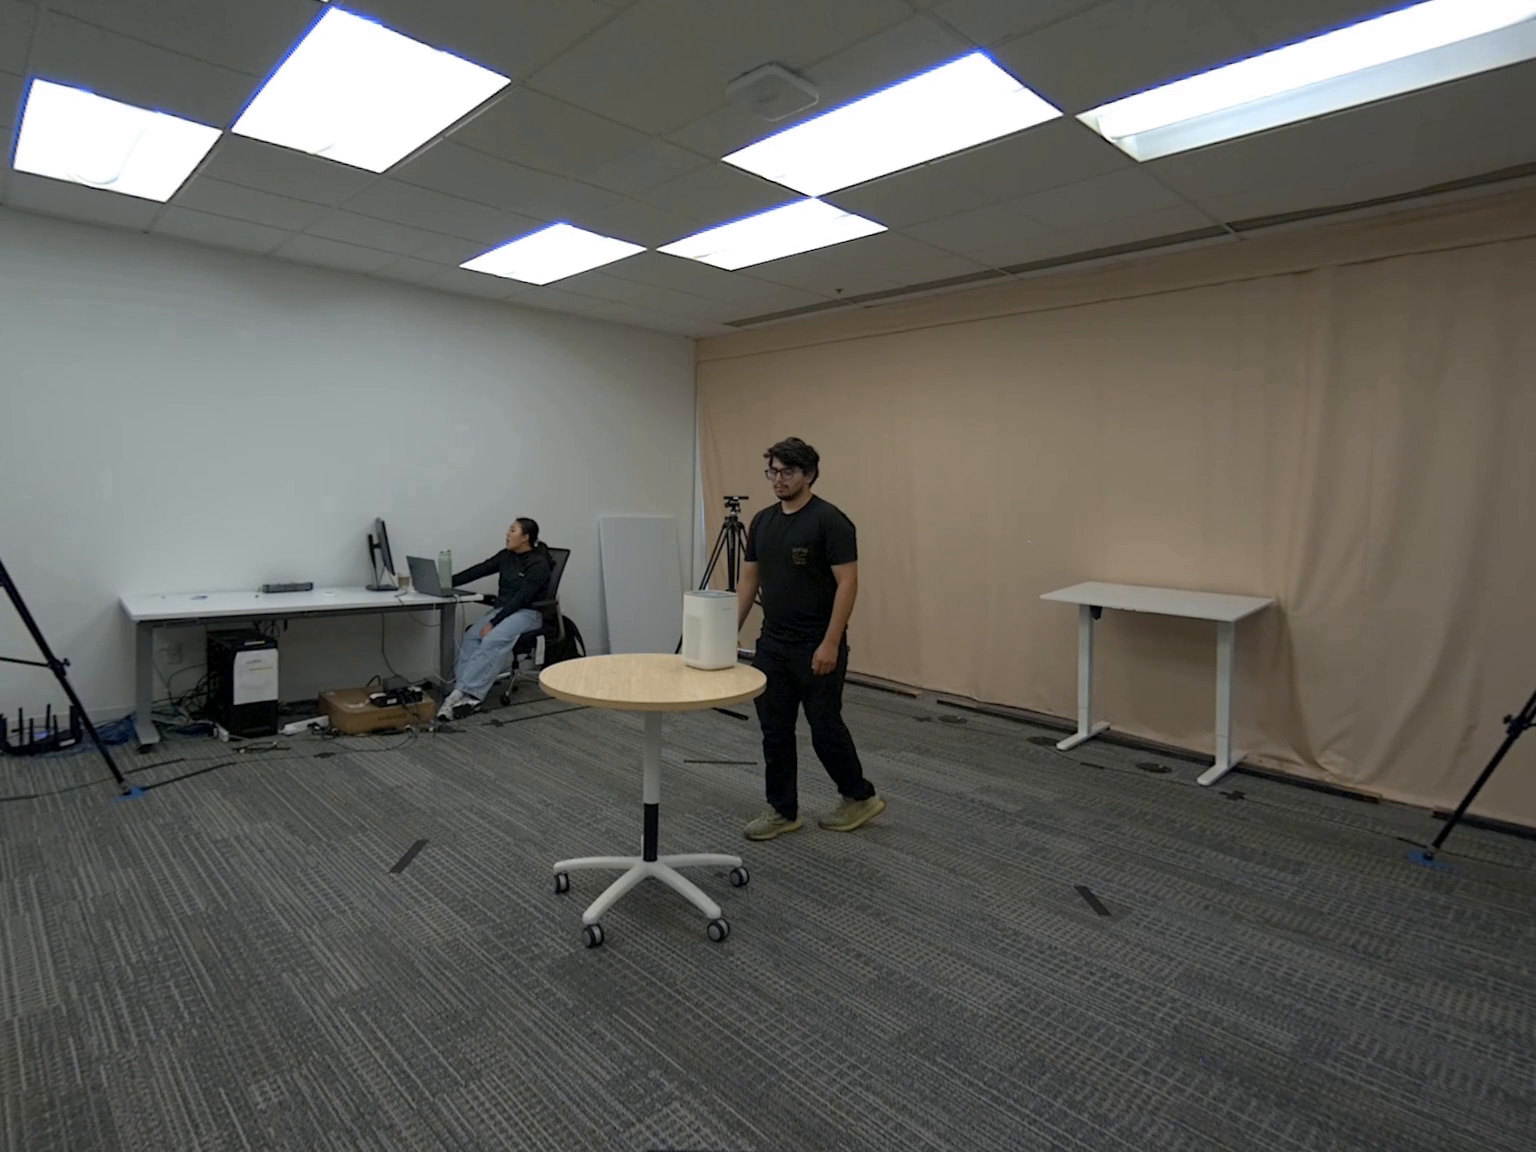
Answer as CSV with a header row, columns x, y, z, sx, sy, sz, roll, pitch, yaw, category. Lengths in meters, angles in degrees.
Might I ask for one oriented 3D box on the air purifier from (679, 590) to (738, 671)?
x,y,z,sx,sy,sz,roll,pitch,yaw,category
-0.214,0.193,3.026,0.167,0.264,0.176,-3,7,-45,air purifier
